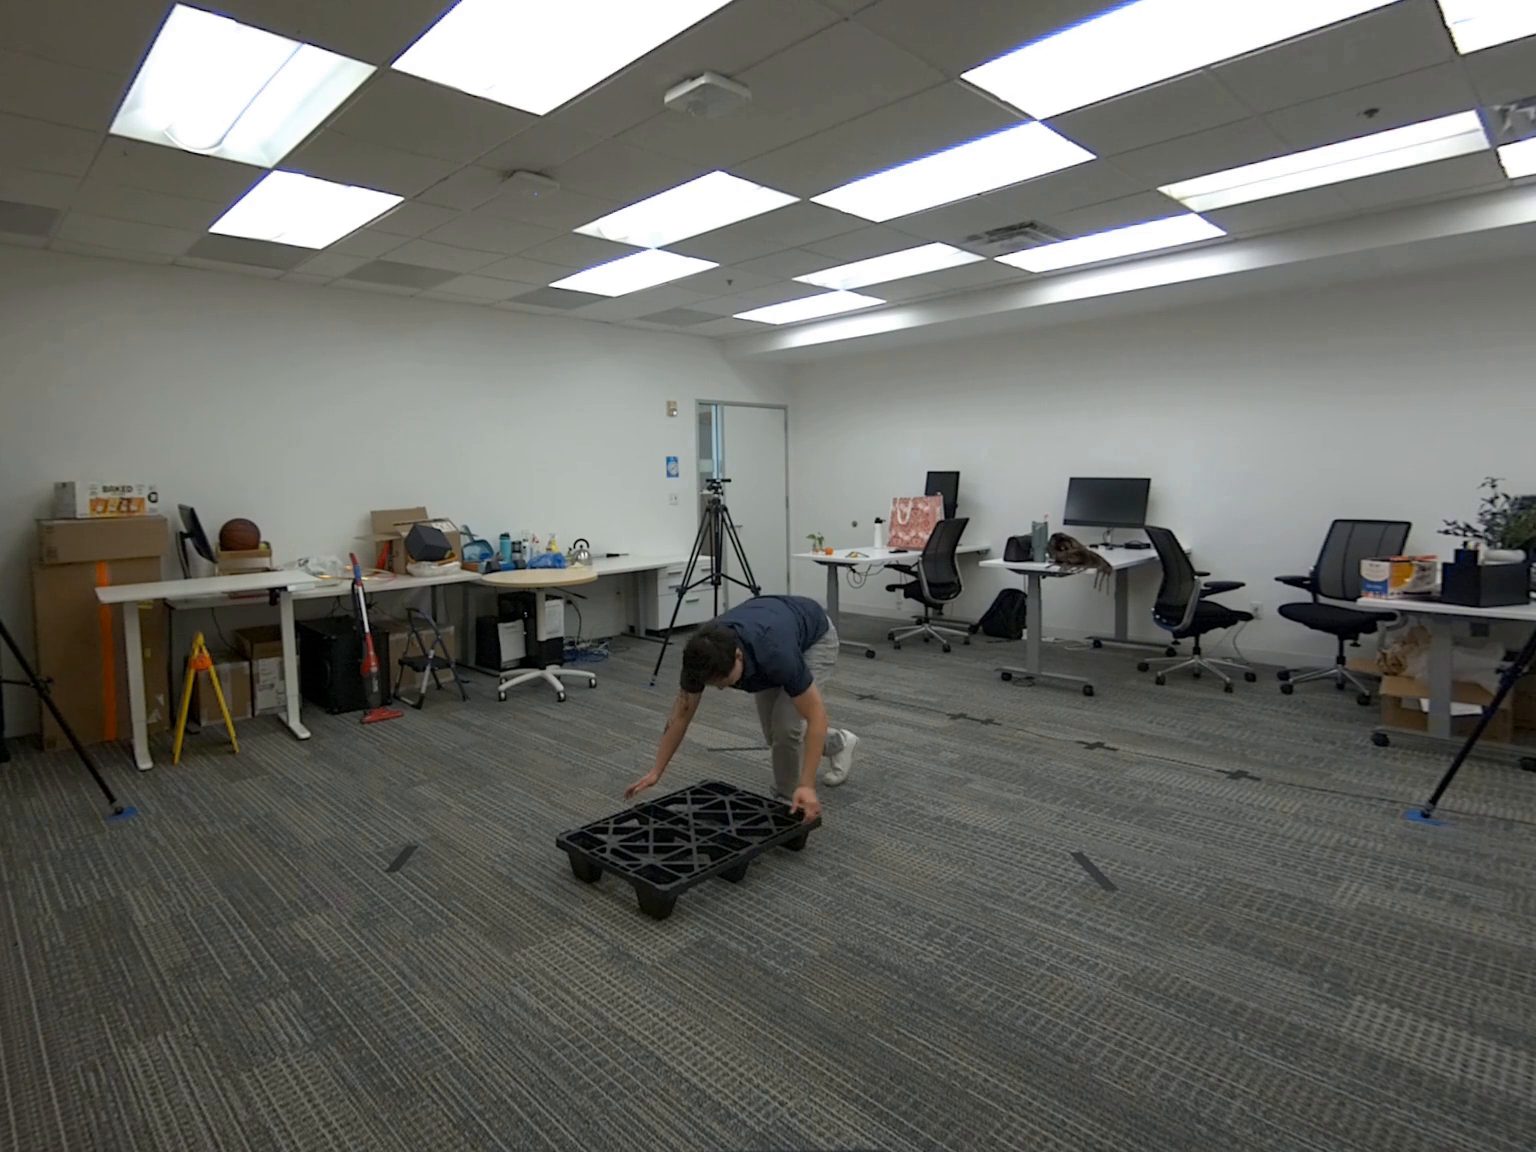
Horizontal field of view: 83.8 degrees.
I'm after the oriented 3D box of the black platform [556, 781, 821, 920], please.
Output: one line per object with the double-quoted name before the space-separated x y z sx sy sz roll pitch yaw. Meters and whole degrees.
"black platform" -0.281 0.980 3.128 0.624 0.143 0.785 4 8 43
